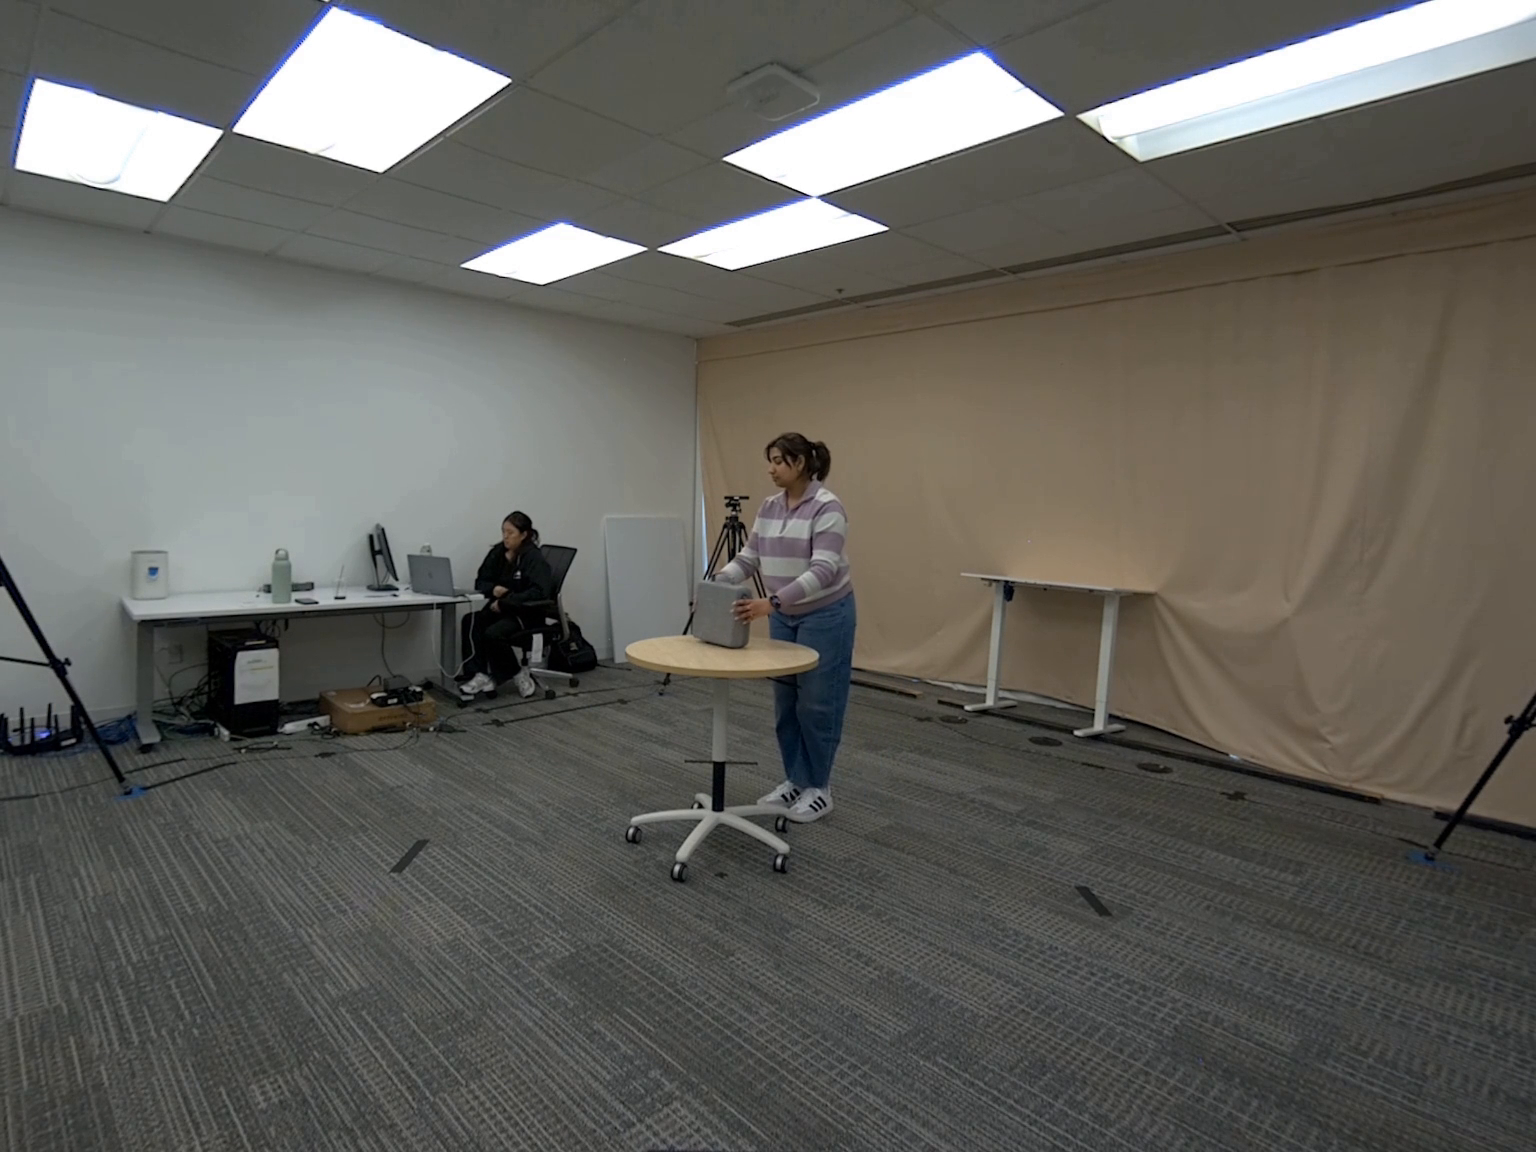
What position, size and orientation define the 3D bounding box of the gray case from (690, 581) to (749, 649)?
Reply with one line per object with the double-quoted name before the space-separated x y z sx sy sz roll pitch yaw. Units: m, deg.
"gray case" -0.193 0.152 3.468 0.102 0.260 0.264 2 4 -45
